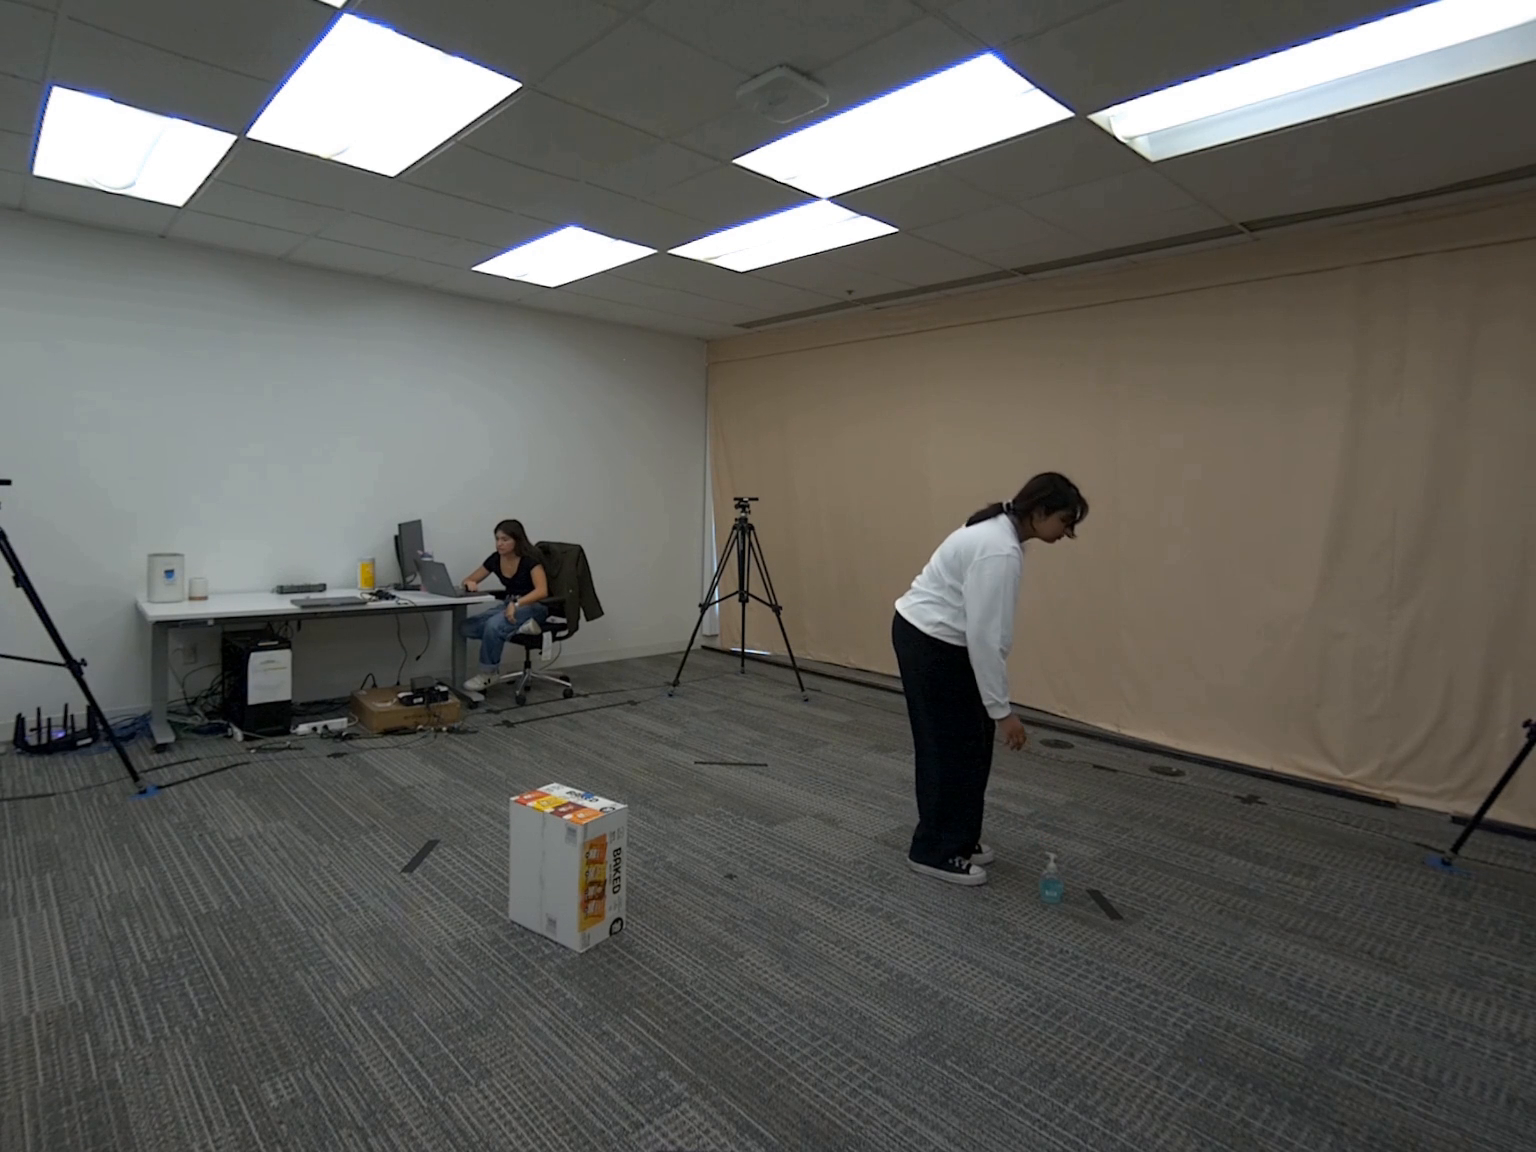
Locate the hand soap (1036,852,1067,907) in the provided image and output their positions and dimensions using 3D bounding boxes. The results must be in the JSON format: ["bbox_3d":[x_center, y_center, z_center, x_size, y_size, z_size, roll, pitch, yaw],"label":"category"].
[{"bbox_3d":[0.995,1.065,2.978,0.085,0.168,0.043,2,3,4],"label":"hand soap"}]
